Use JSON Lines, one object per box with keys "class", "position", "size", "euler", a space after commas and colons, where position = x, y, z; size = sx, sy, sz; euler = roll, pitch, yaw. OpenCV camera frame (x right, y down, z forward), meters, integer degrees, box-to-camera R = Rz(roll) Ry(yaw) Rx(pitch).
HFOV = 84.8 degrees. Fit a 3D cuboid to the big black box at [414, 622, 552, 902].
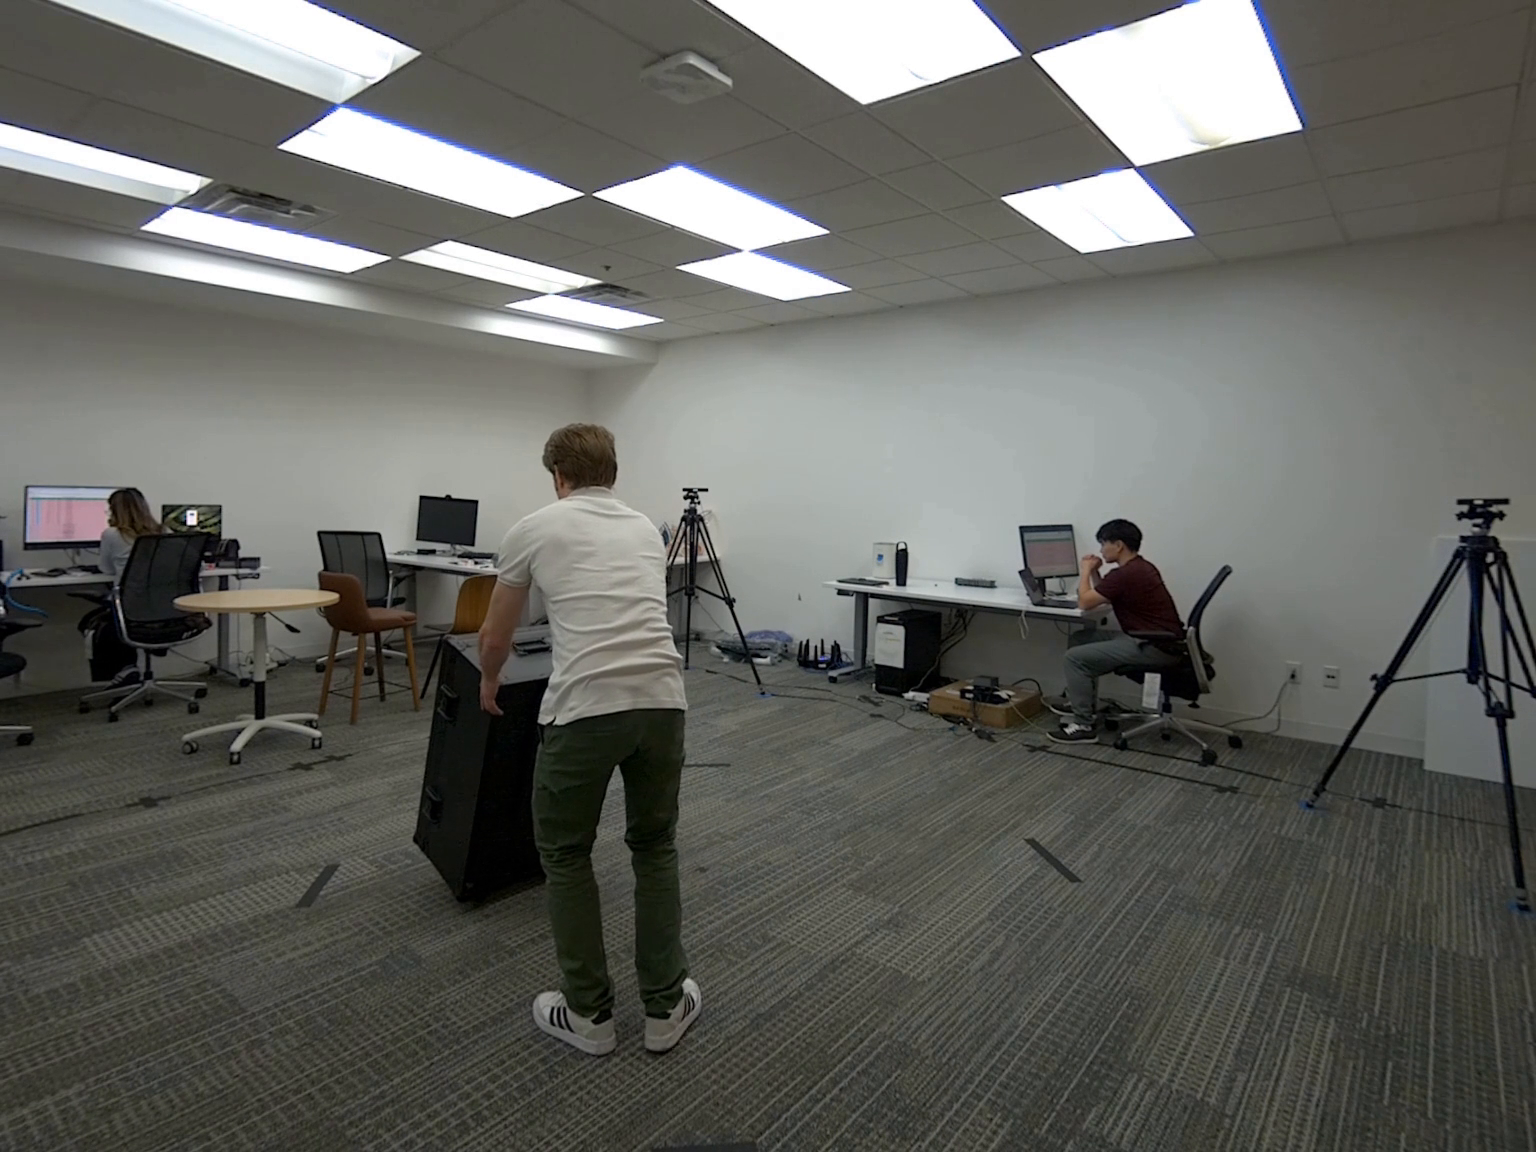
{"class": "big black box", "position": [-0.867, 0.640, 2.906], "size": [0.505, 0.852, 0.413], "euler": [-2, 23, -46]}
